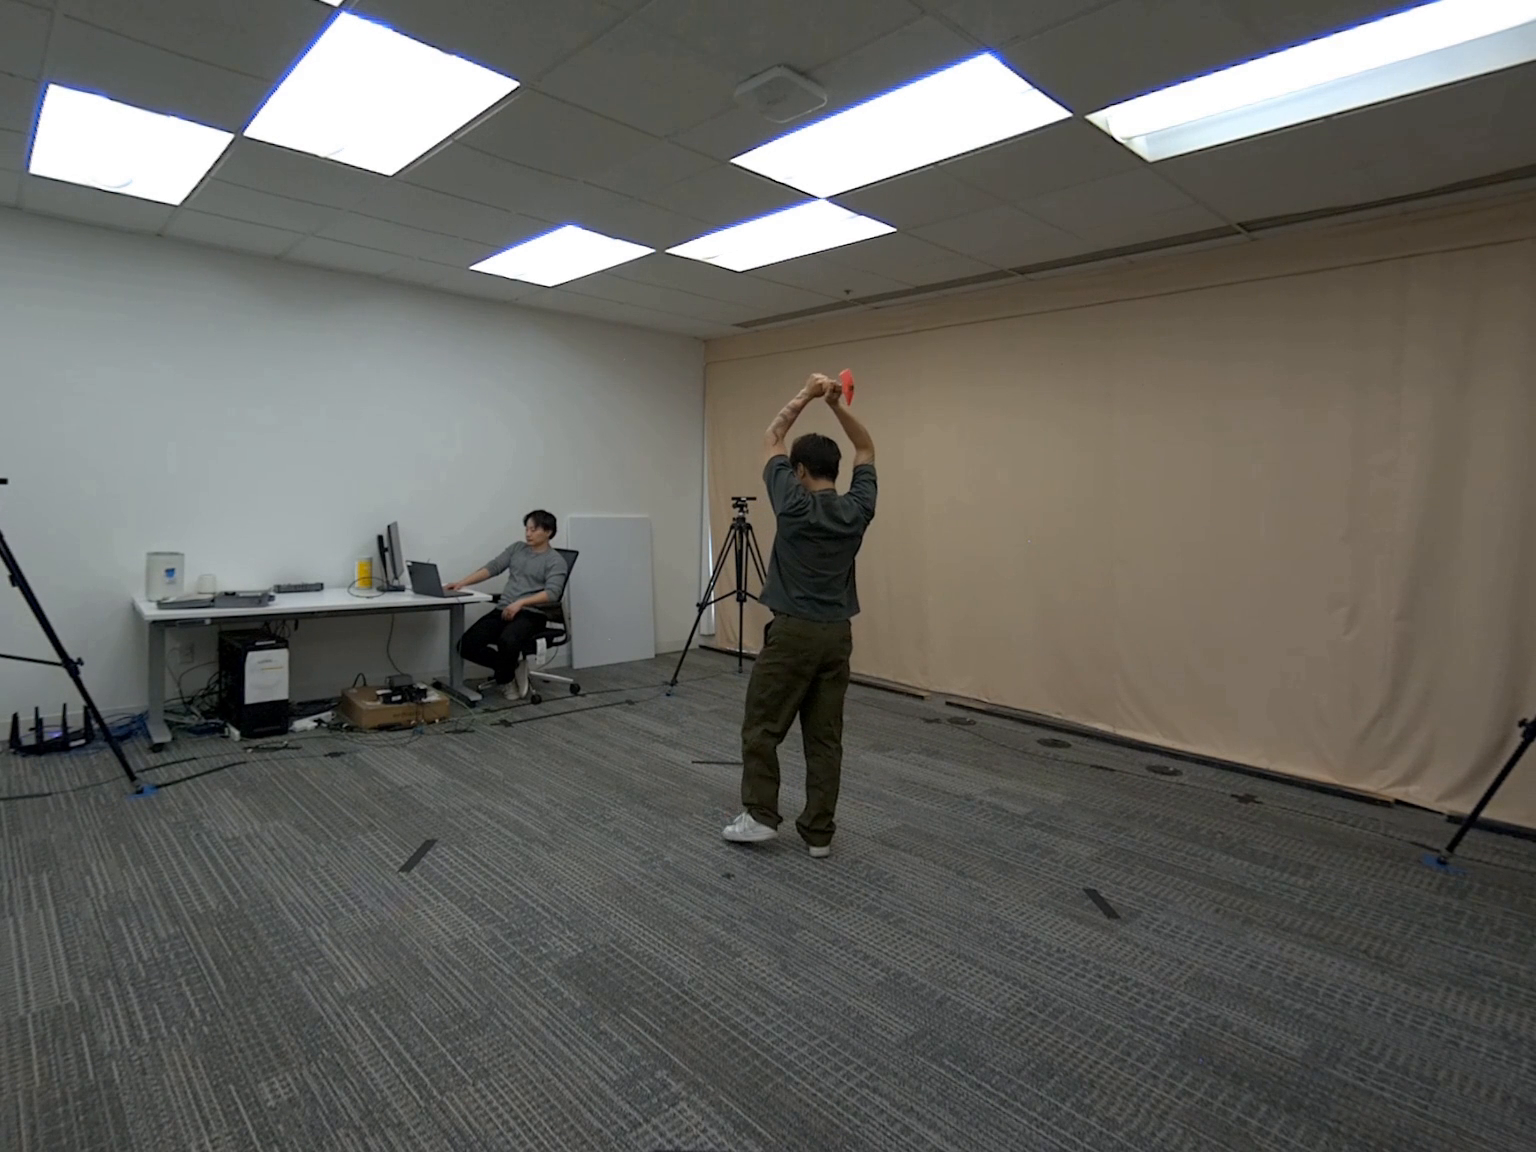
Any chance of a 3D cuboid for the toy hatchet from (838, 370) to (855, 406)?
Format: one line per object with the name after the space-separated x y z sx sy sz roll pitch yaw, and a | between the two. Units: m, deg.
0.249 -0.770 3.292 0.029 0.129 0.278 -10 31 -21 | toy hatchet
